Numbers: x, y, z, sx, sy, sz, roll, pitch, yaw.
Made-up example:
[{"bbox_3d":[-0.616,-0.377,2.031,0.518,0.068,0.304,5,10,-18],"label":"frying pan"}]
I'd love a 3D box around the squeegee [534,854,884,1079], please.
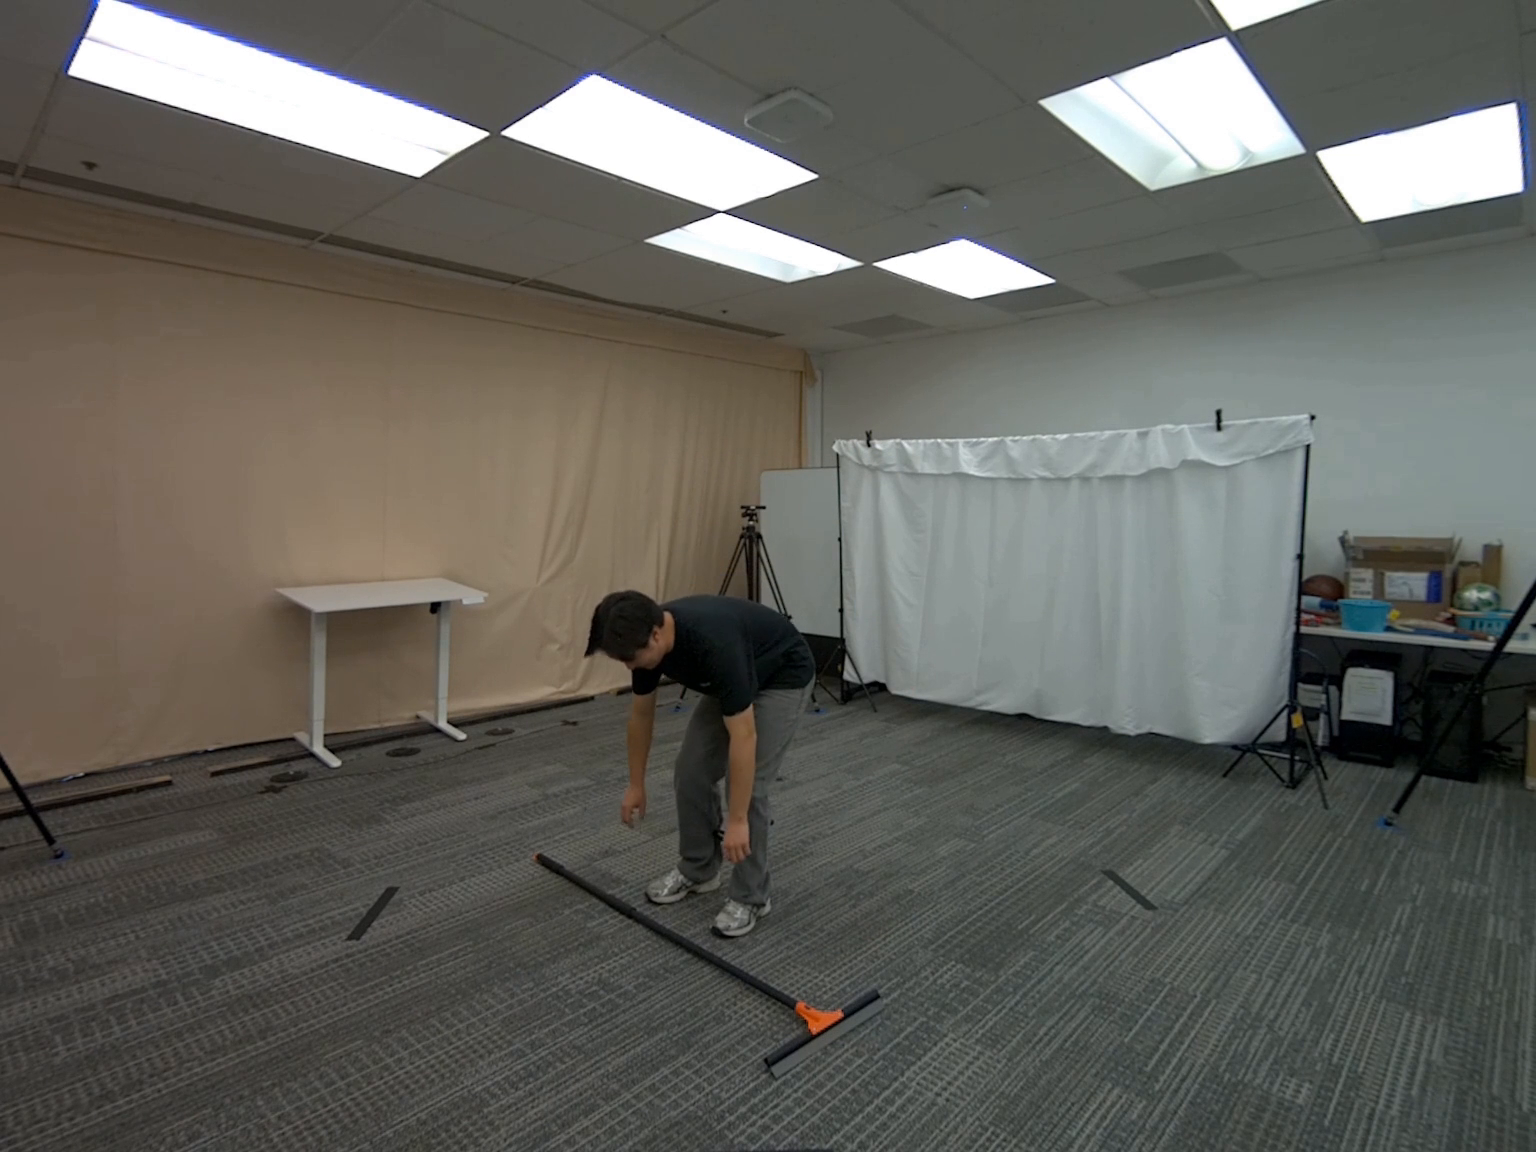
[{"bbox_3d":[-0.368,1.135,2.756,0.424,0.053,1.588,-4,5,-43],"label":"squeegee"}]
